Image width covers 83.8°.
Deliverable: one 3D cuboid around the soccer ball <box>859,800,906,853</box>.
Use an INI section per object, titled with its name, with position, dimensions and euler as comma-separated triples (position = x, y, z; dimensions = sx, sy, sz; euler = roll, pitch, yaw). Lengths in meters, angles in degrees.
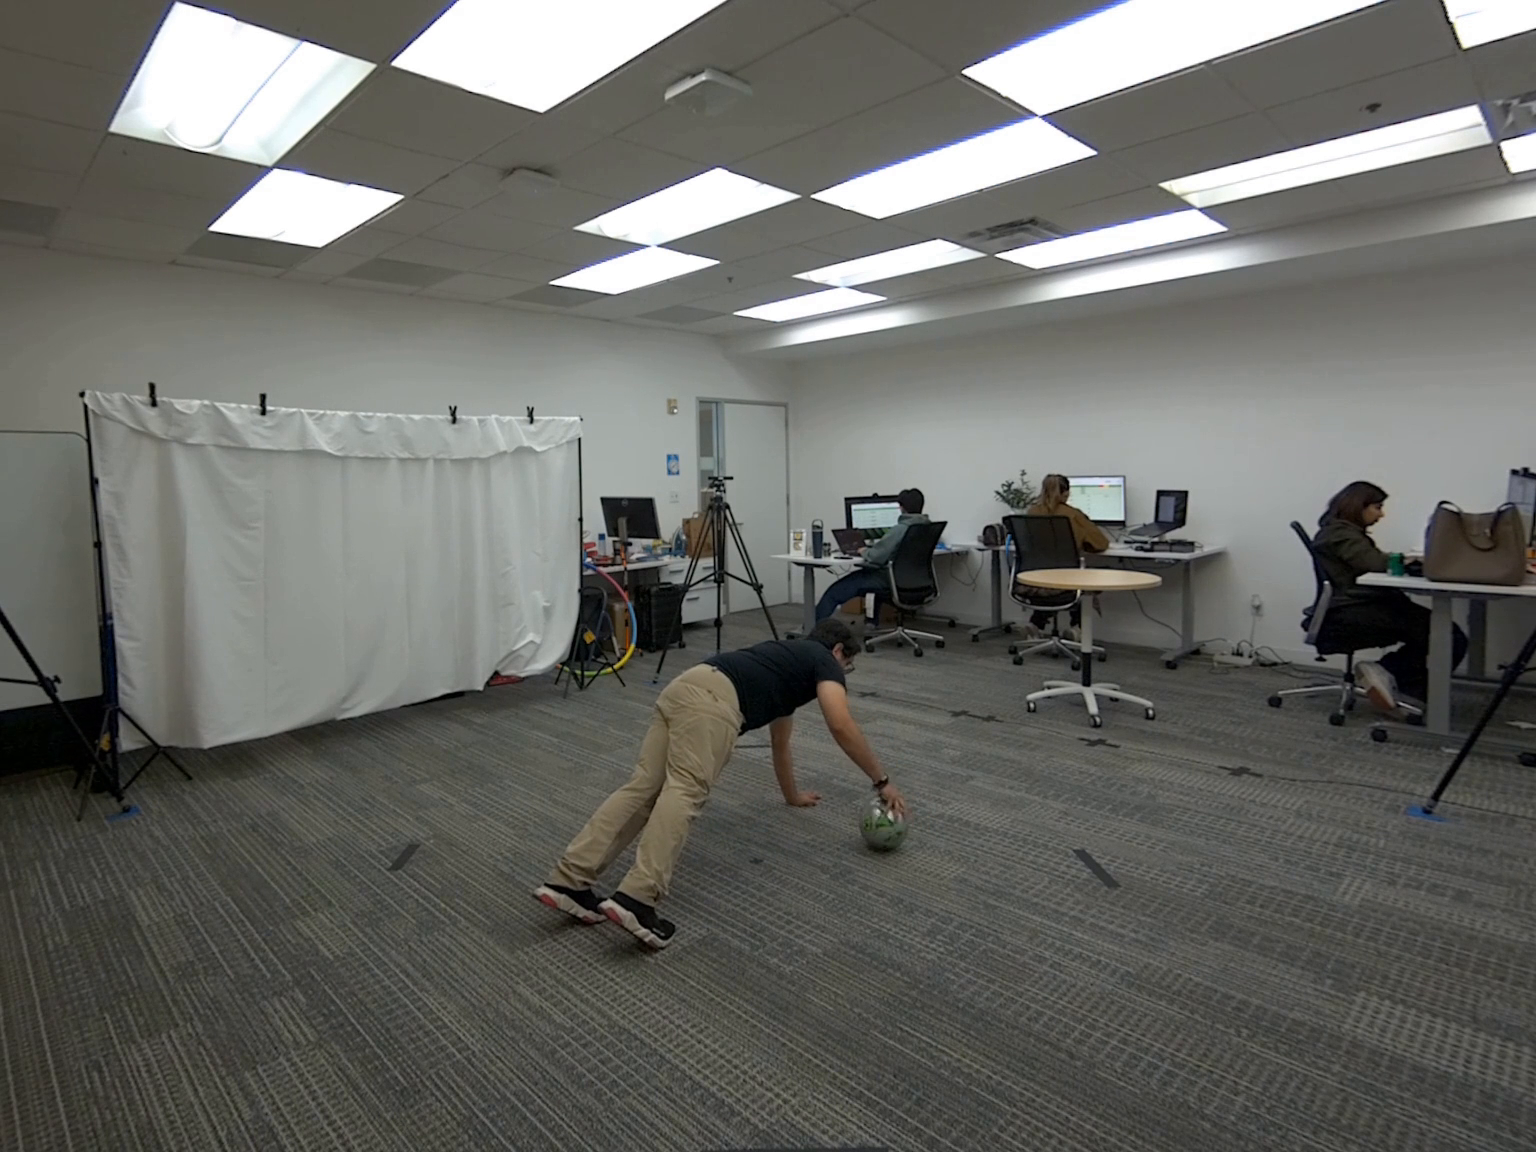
[soccer ball]
position = 0.421, 0.918, 3.196
dimensions = 0.187, 0.187, 0.188
euler = -1, 5, -2
